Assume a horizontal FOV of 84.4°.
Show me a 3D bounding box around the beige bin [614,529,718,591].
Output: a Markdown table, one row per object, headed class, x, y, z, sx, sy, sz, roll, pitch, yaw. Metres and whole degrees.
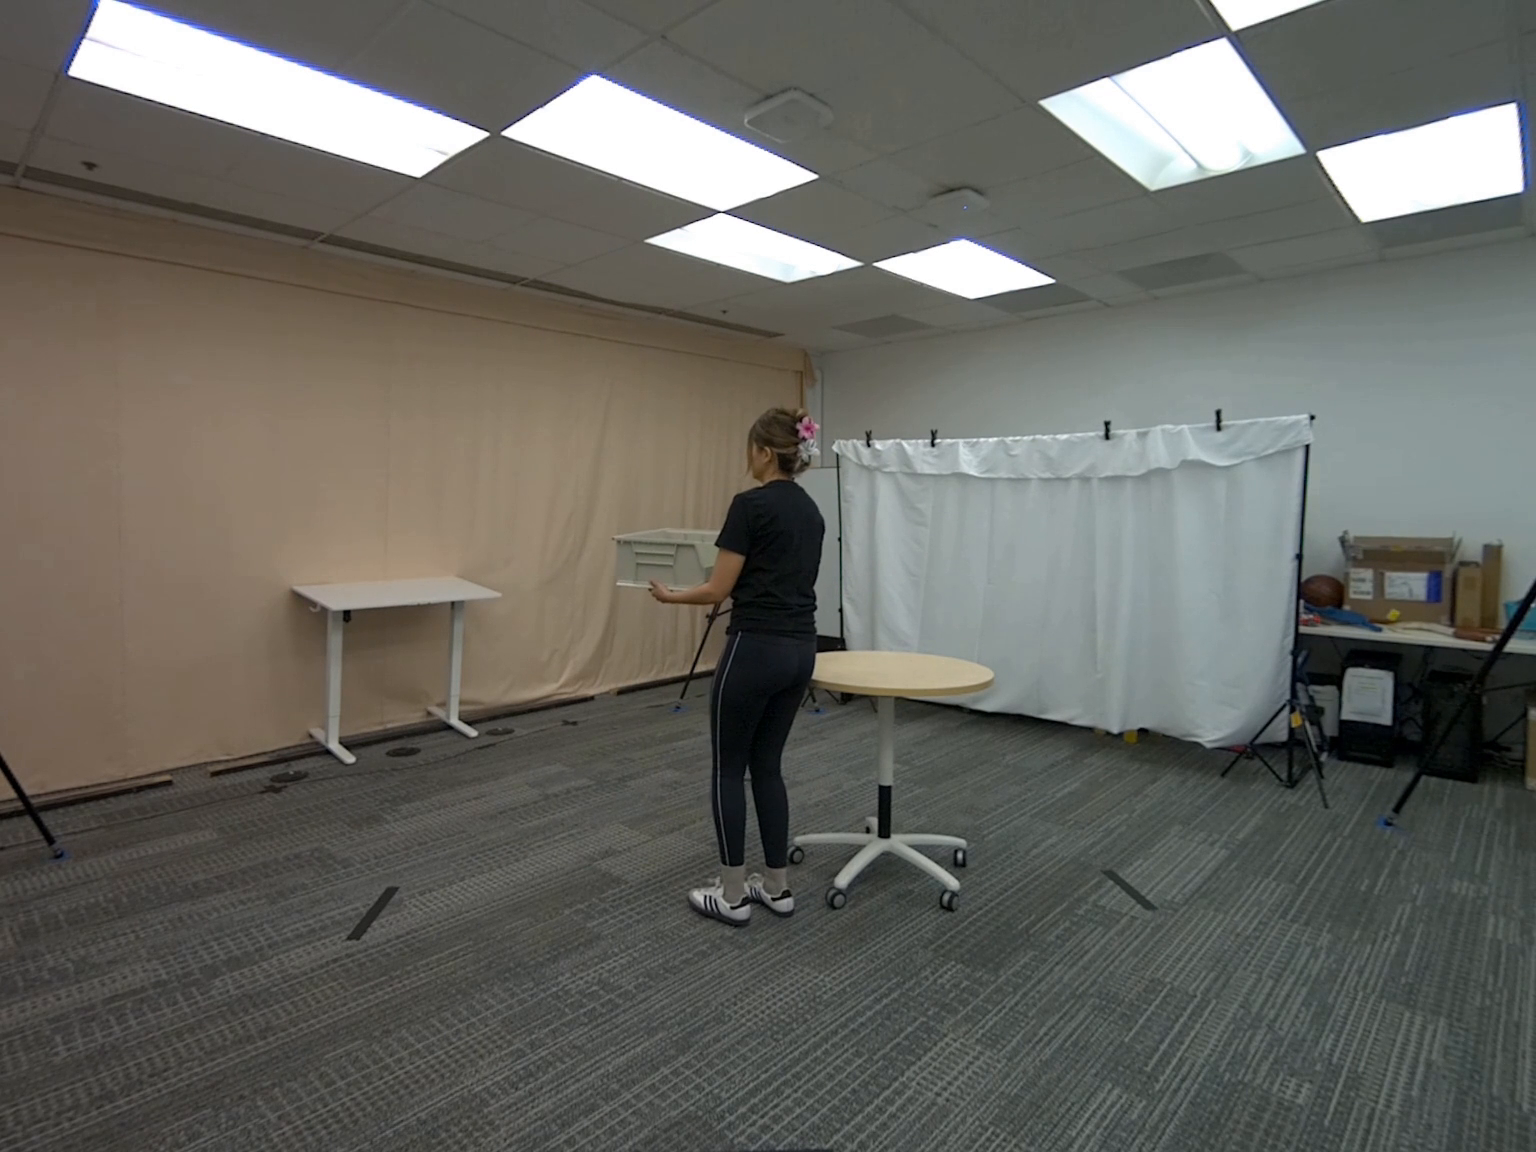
| class | x | y | z | sx | sy | sz | roll | pitch | yaw |
| --- | --- | --- | --- | --- | --- | --- | --- | --- | --- |
| beige bin | -0.316 | -0.065 | 3.188 | 0.386 | 0.188 | 0.414 | 2 | 9 | 23 |
